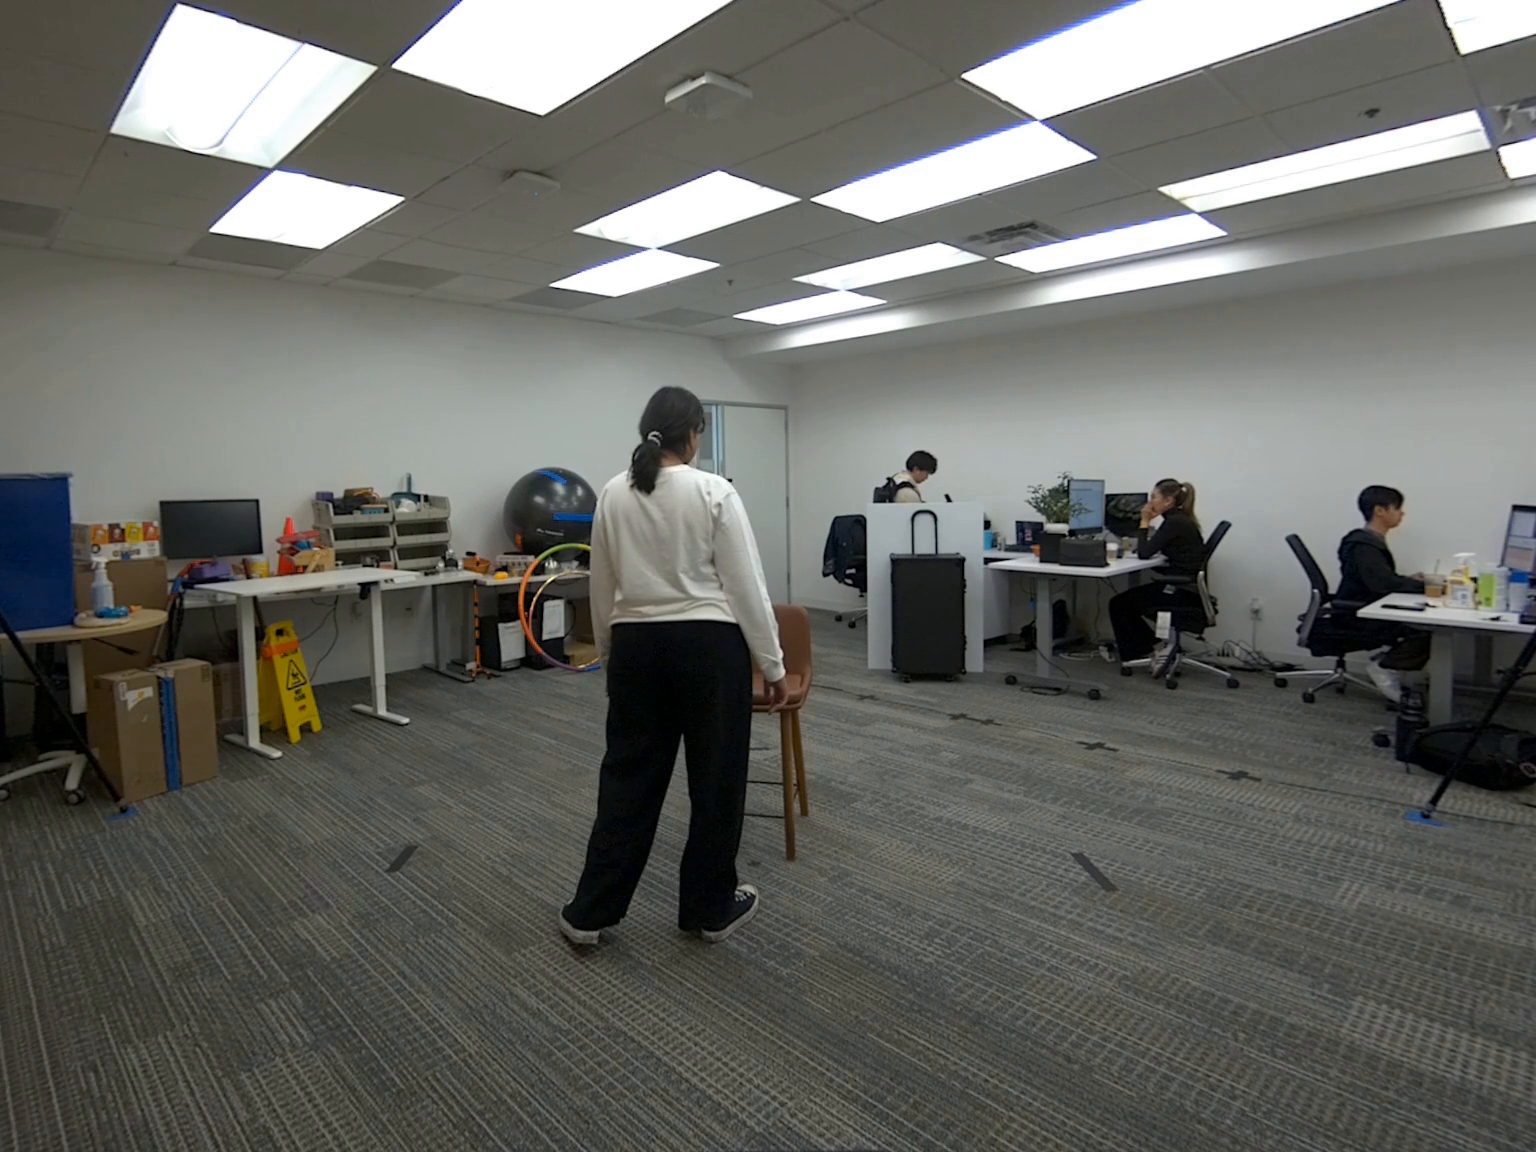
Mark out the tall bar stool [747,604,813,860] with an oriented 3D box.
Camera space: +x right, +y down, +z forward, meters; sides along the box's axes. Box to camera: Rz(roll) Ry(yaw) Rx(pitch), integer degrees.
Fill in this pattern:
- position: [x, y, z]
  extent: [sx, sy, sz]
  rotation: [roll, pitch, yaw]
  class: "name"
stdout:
- position: [-0.059, 0.582, 3.368]
  extent: [0.463, 0.888, 0.462]
  rotation: [0, 2, 14]
  class: "tall bar stool"
